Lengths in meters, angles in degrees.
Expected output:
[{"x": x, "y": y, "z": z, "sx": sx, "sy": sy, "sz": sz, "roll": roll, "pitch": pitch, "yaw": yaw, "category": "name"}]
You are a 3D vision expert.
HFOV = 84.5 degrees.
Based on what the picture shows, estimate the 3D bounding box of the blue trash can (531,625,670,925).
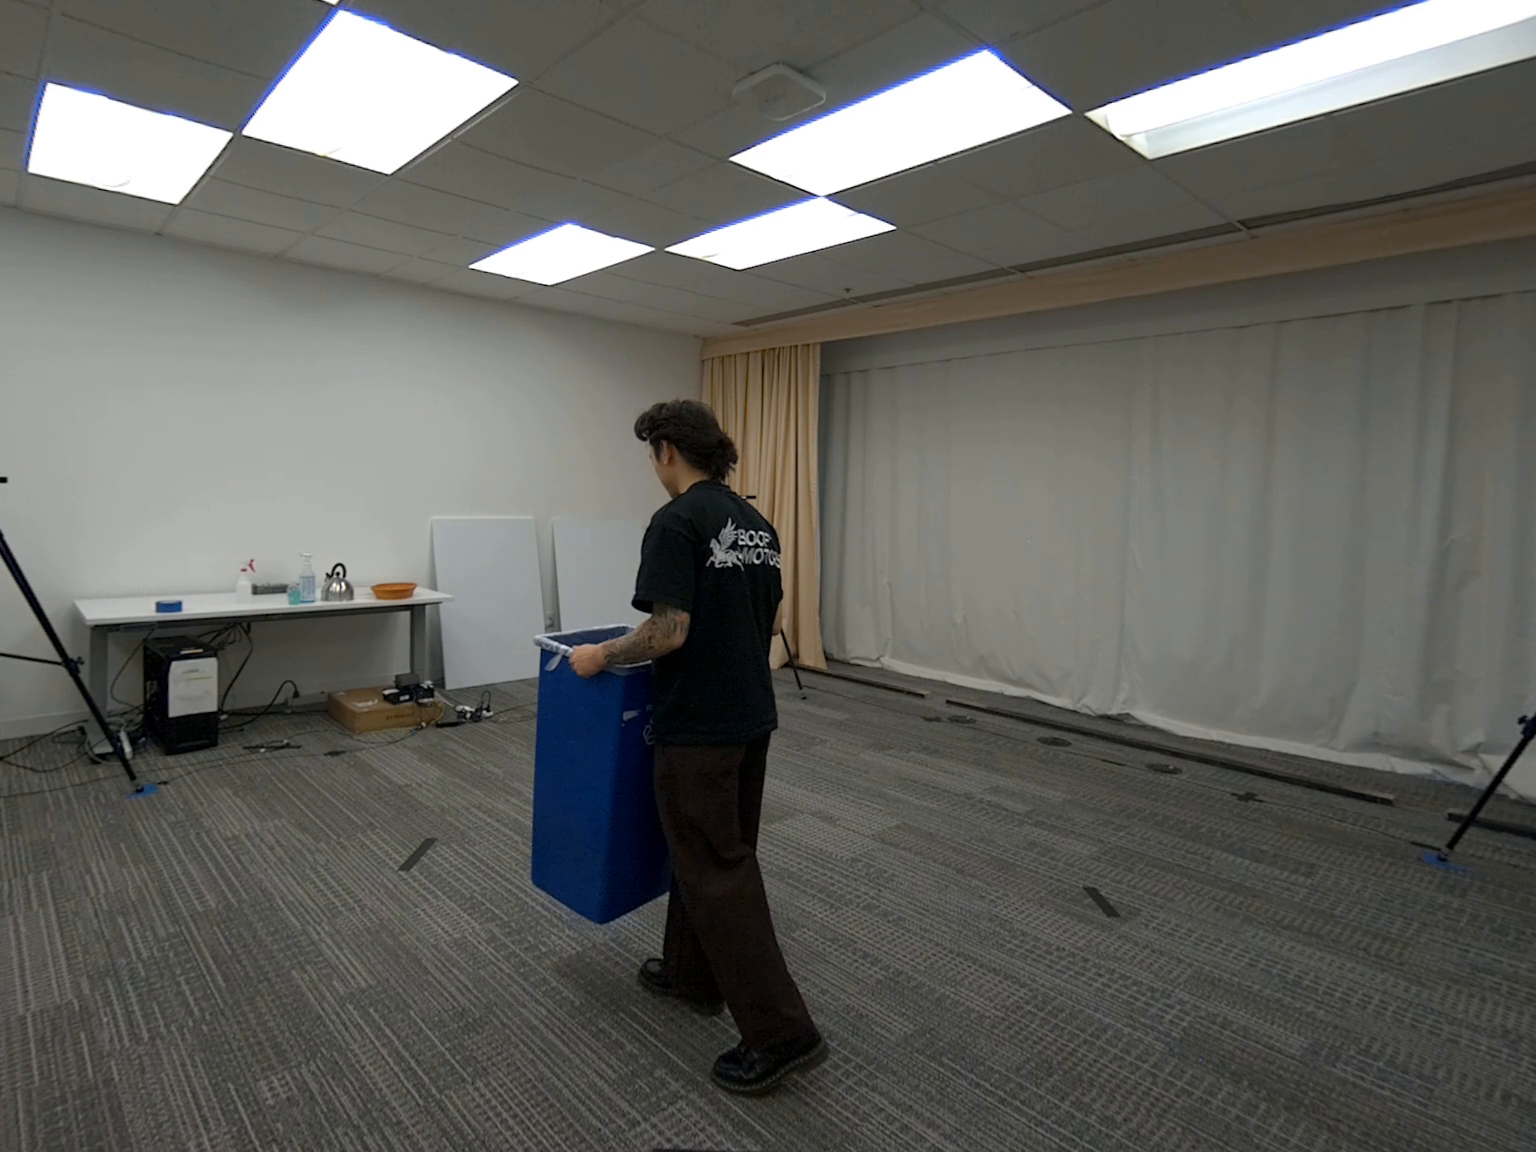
[{"x": -0.443, "y": 0.538, "z": 2.374, "sx": 0.388, "sy": 0.710, "sz": 0.366, "roll": 10, "pitch": 8, "yaw": 35, "category": "blue trash can"}]
